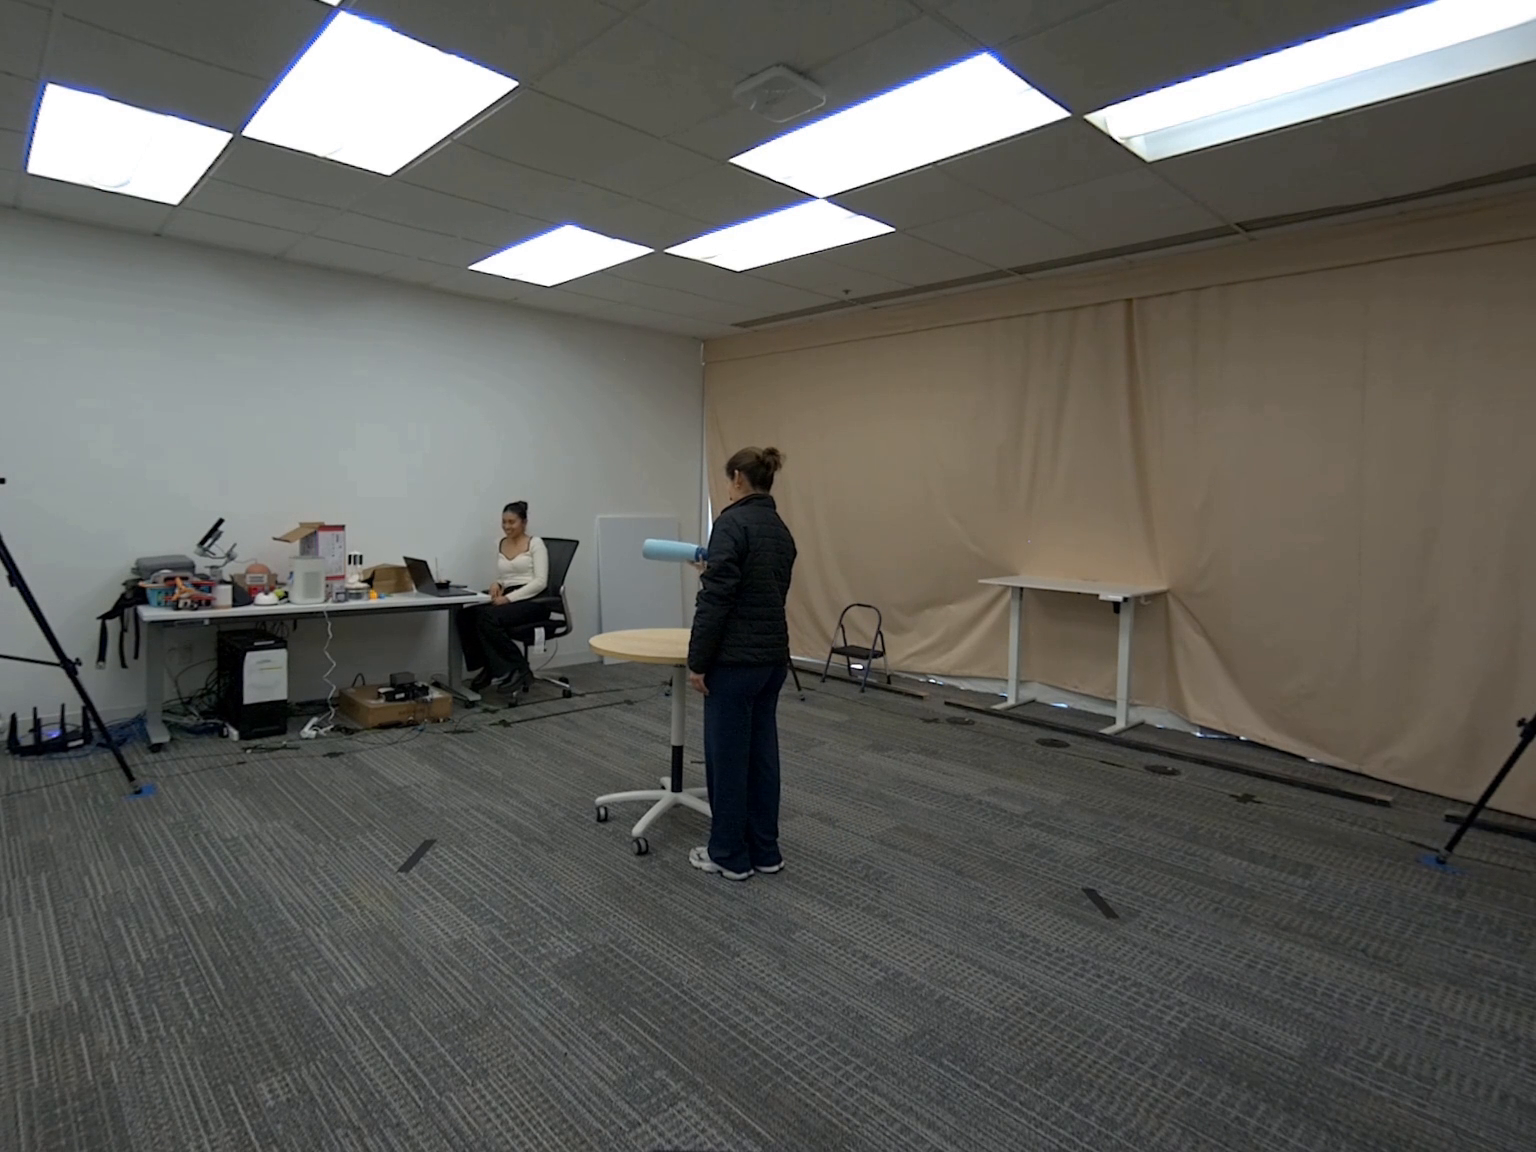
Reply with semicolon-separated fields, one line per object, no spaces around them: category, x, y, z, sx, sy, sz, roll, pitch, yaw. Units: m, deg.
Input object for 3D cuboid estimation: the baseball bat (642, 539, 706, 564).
baseball bat;-0.282;-0.077;3.471;0.552;0.089;0.088;7;6;20
